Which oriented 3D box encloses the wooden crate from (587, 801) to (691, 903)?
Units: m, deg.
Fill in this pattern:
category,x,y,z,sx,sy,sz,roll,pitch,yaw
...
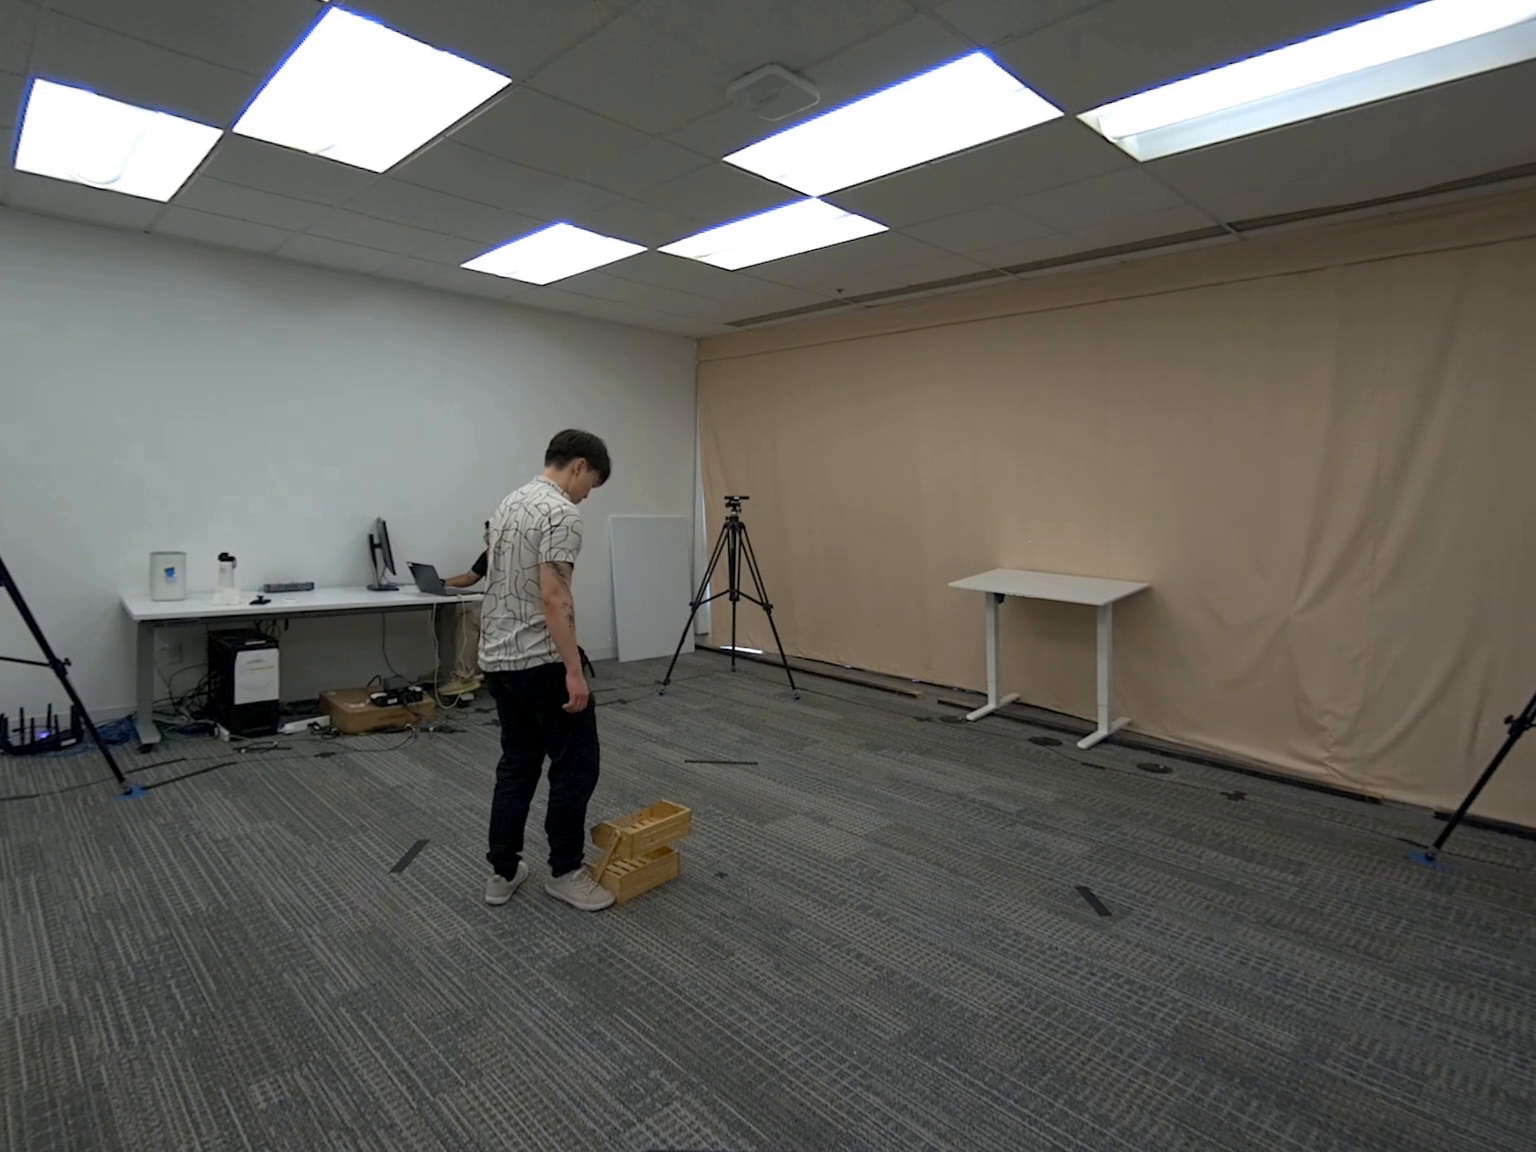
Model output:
category,x,y,z,sx,sy,sz,roll,pitch,yaw
wooden crate,-0.502,0.969,3.027,0.310,0.272,0.317,6,7,37
